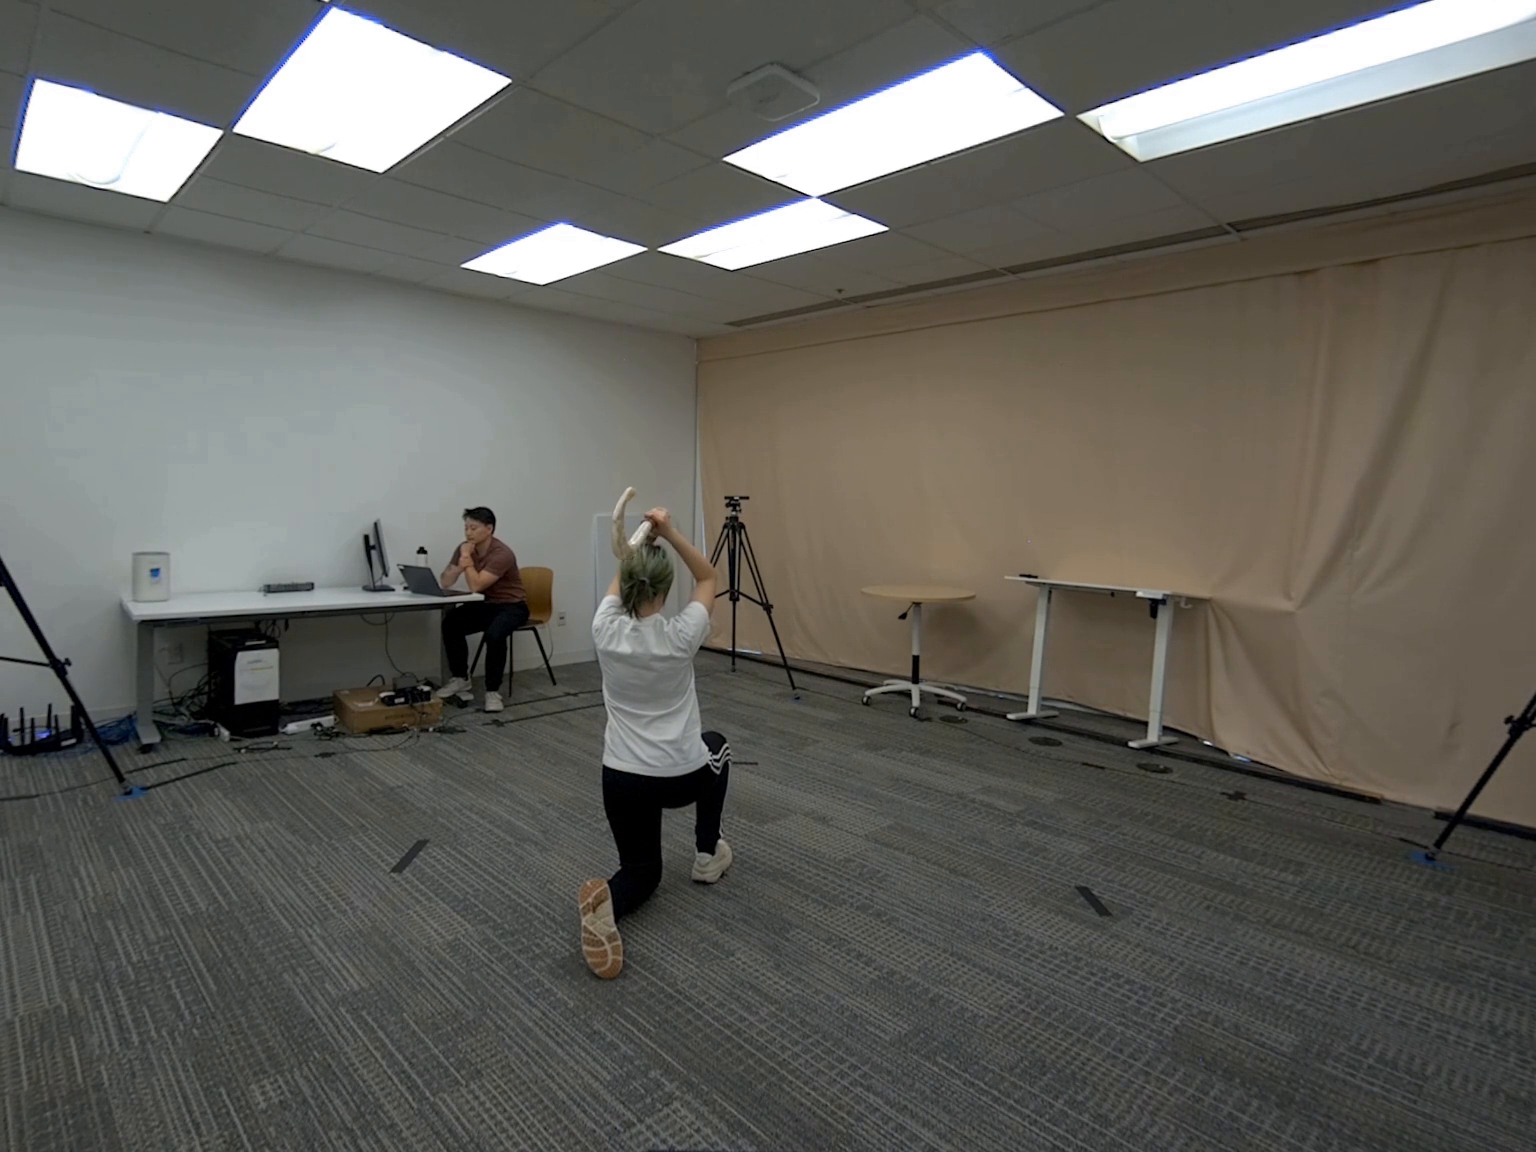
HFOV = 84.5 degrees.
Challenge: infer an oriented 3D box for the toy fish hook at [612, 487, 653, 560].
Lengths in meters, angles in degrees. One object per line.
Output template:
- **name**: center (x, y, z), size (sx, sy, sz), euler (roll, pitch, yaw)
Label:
- **toy fish hook**: center (-0.428, -0.208, 2.774), size (0.049, 0.222, 0.508), euler (8, 17, 7)
